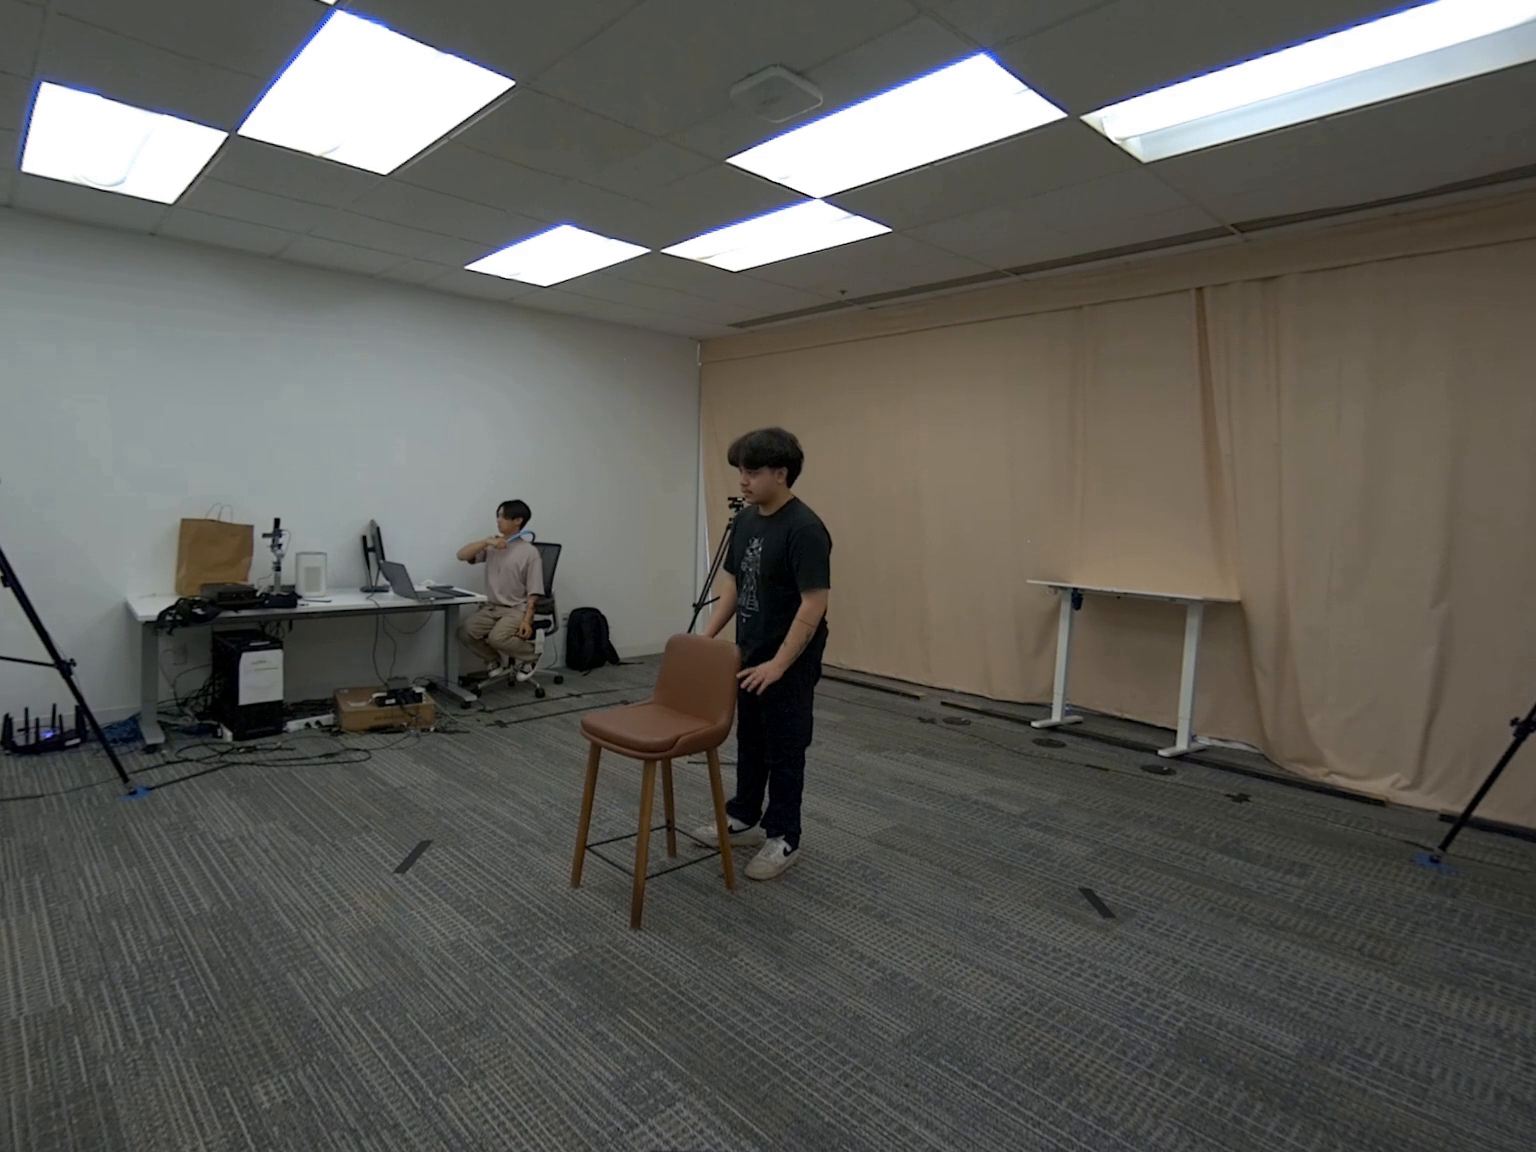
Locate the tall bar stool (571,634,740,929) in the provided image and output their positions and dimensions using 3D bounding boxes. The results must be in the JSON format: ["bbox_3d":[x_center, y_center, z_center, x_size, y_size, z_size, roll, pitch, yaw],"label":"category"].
[{"bbox_3d":[-0.392,0.678,2.971,0.456,0.889,0.468,1,2,-42],"label":"tall bar stool"}]
